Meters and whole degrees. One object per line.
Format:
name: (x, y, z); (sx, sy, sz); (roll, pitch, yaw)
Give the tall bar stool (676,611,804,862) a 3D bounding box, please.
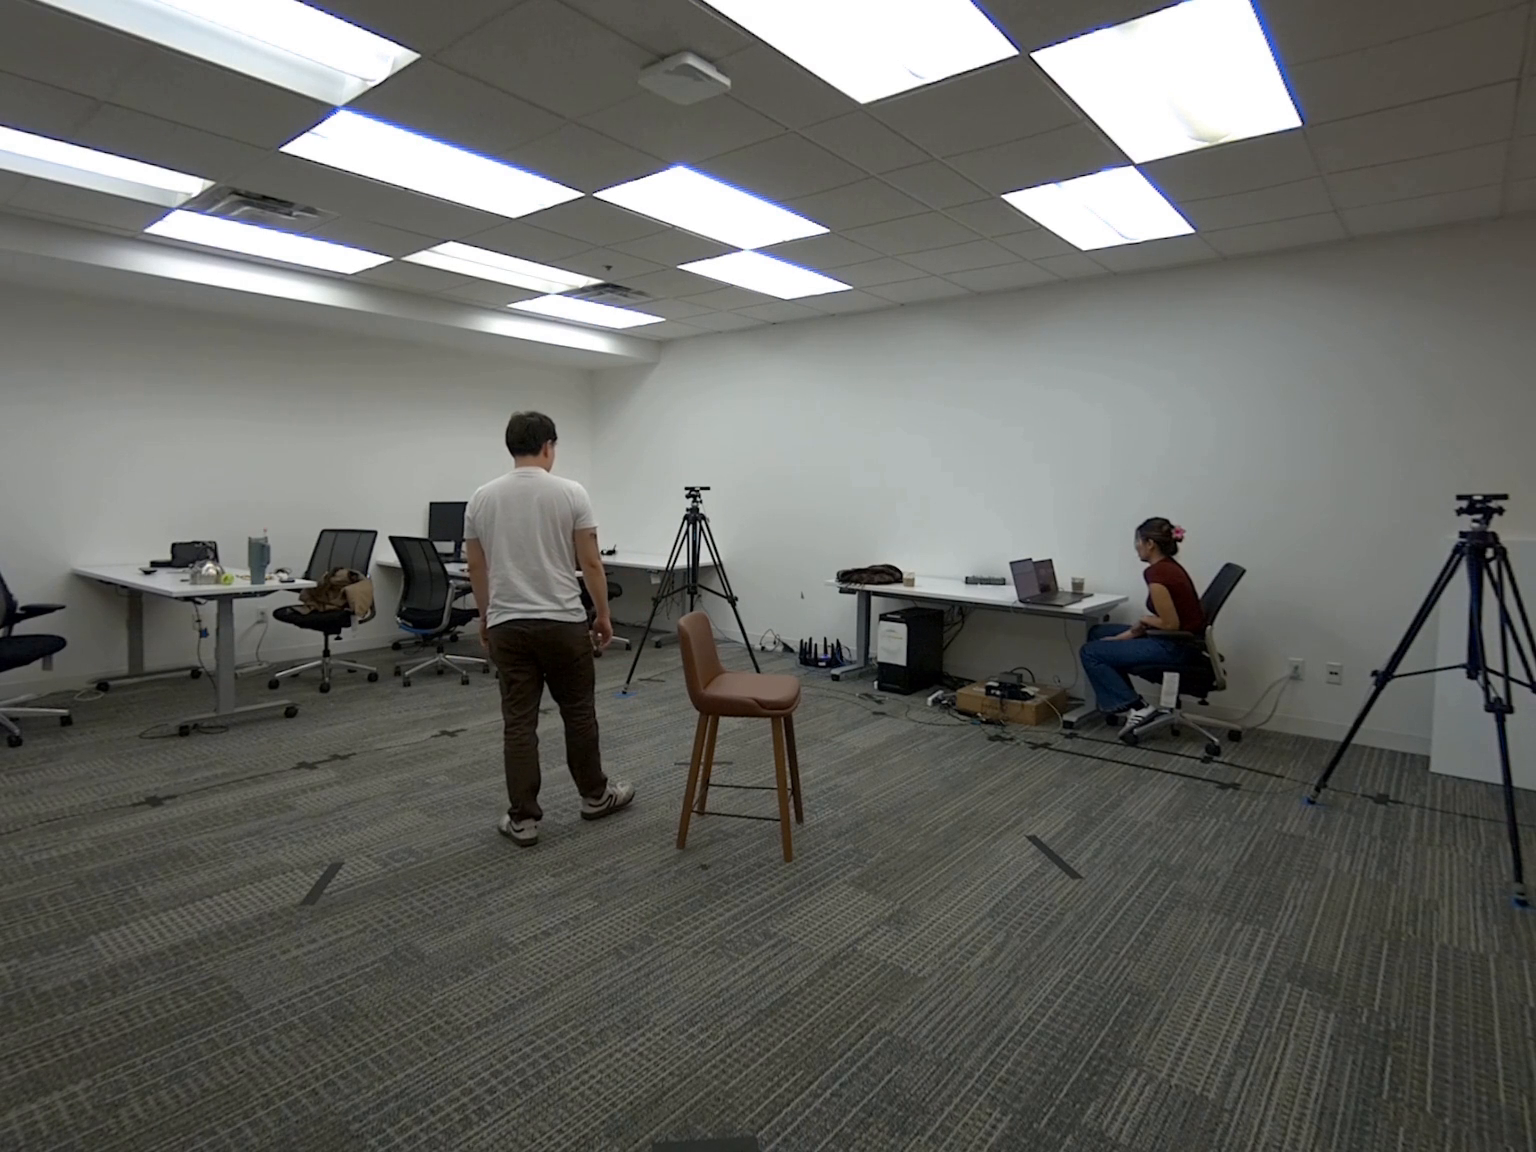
tall bar stool: (-0.114, 0.604, 3.395); (0.474, 0.888, 0.451); (0, 2, 12)
